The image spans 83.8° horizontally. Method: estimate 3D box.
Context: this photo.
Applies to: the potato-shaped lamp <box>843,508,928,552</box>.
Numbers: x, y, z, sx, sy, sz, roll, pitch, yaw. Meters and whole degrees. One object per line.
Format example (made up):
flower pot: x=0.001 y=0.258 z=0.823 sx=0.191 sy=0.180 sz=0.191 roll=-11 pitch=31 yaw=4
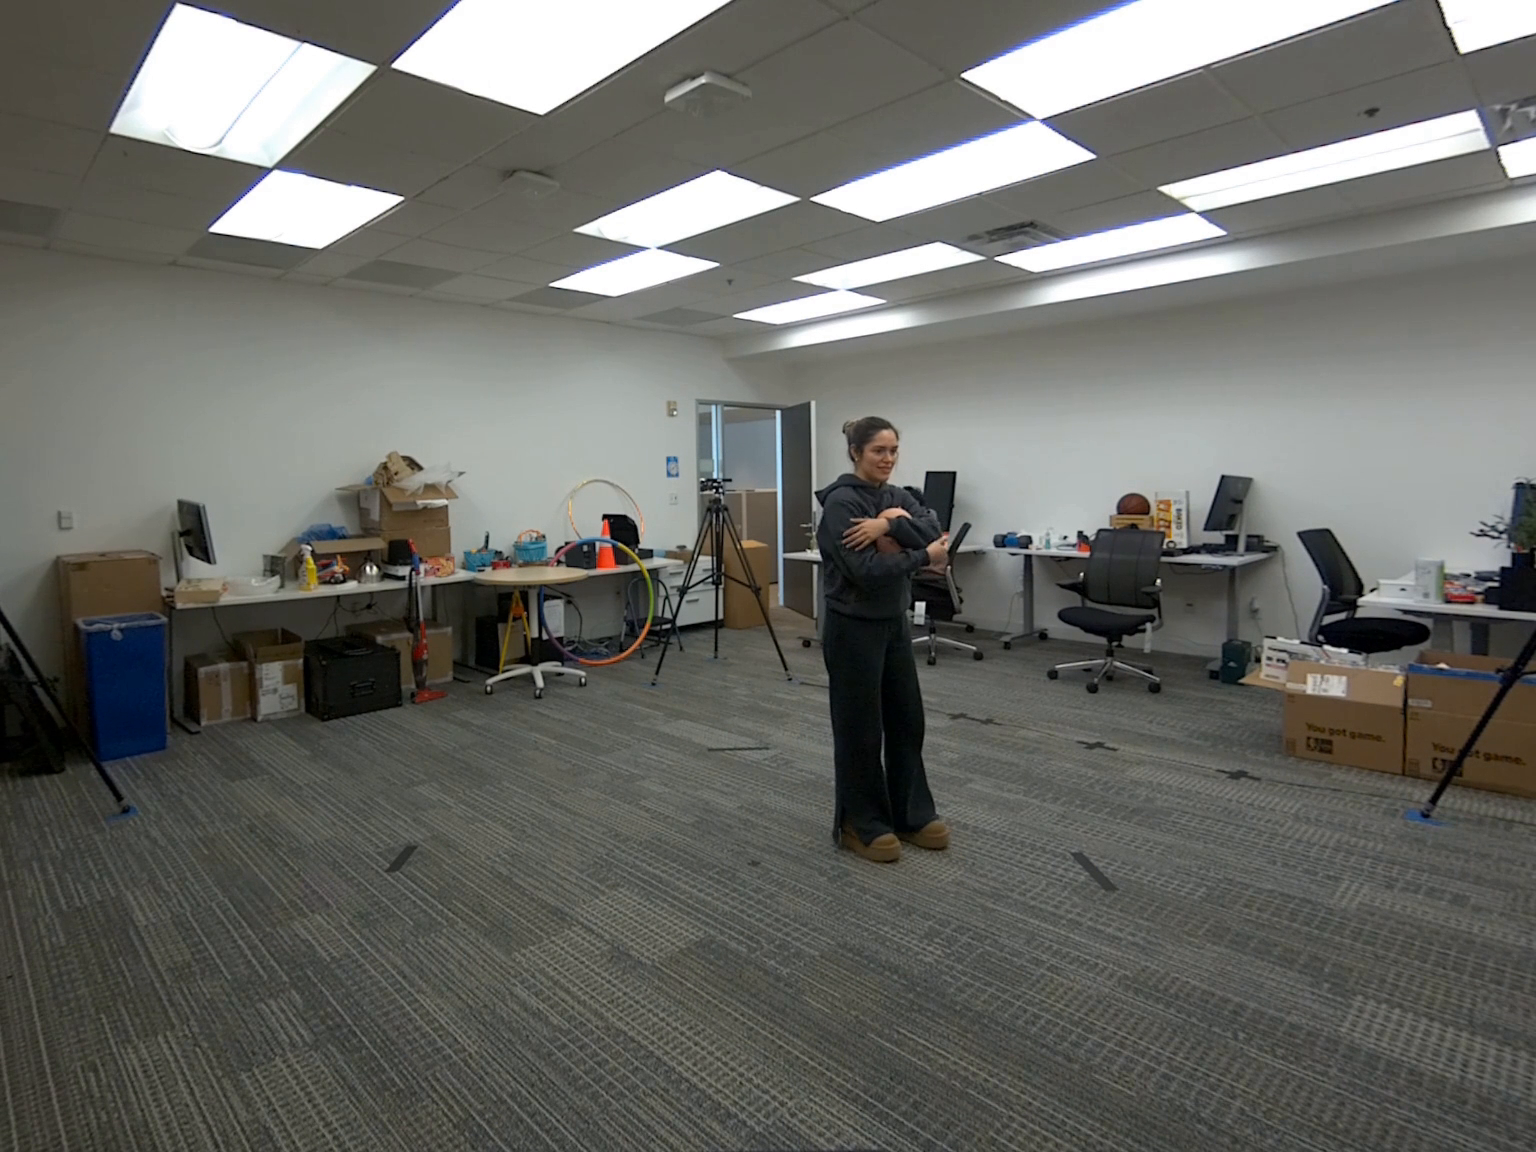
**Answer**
potato-shaped lamp: x=0.434 y=-0.140 z=3.097 sx=0.197 sy=0.160 sz=0.177 roll=-41 pitch=29 yaw=-27
